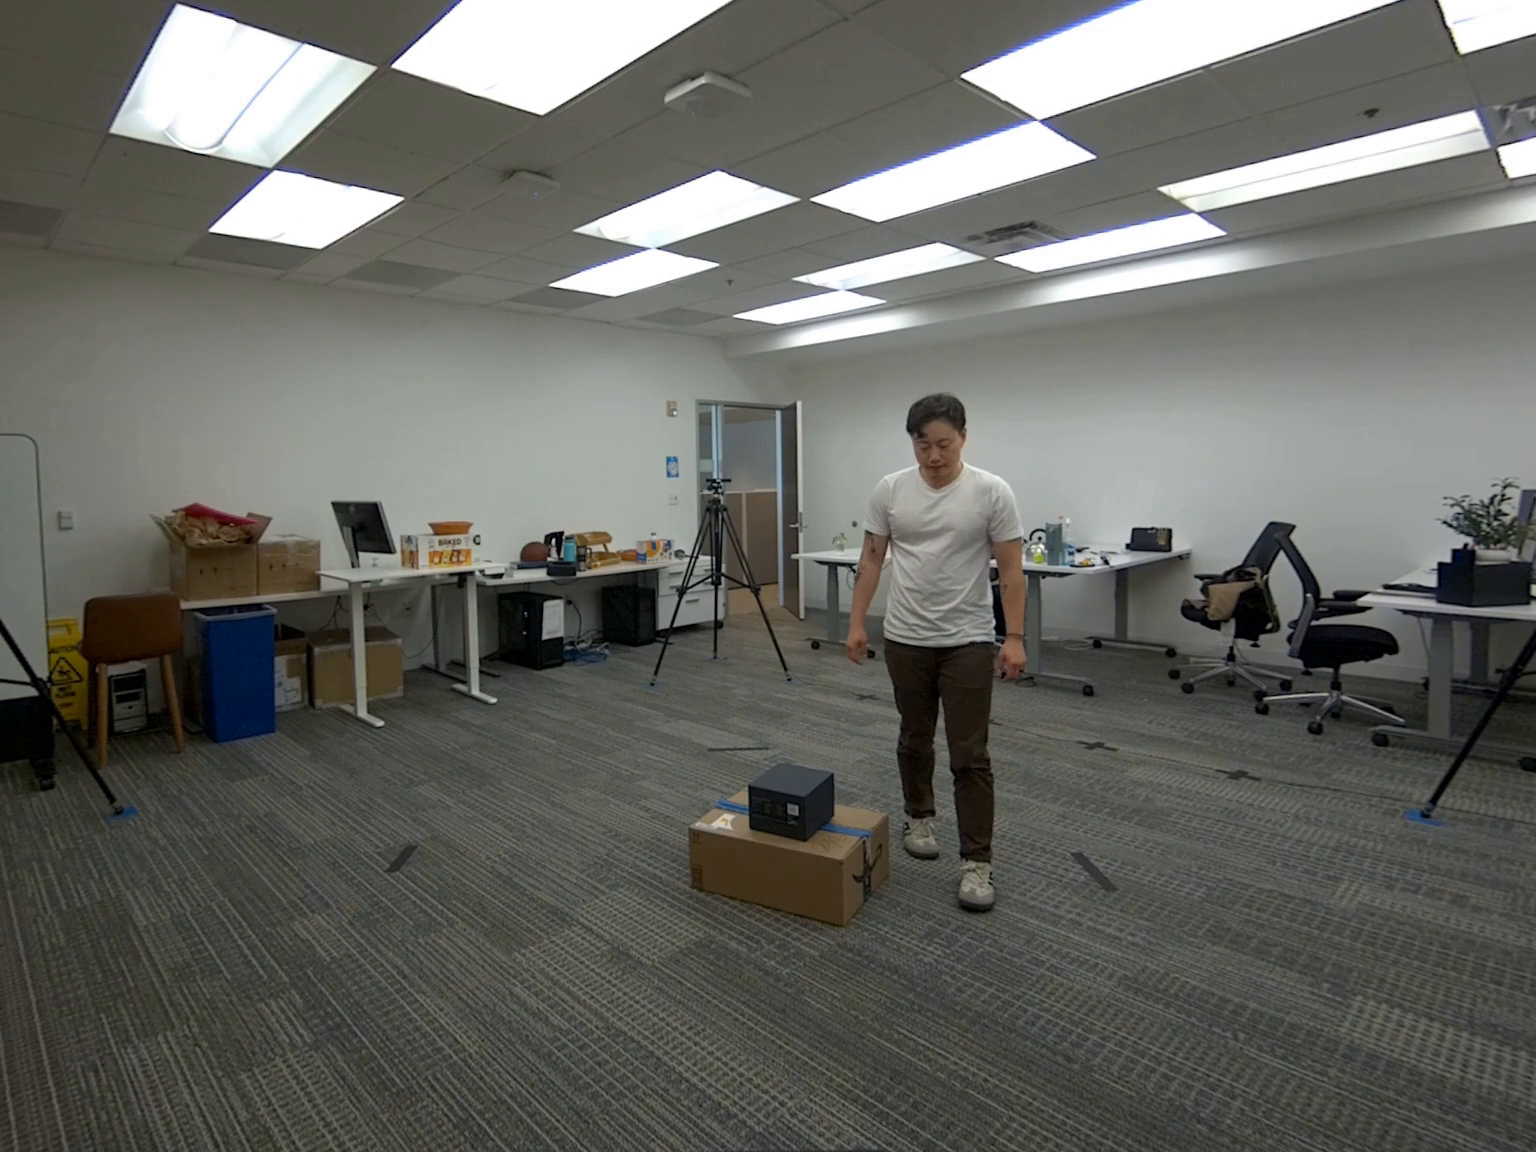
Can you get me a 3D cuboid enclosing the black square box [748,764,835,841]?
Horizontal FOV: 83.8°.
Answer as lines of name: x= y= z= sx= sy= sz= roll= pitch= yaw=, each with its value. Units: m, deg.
black square box: x=0.084 y=0.763 z=2.914 sx=0.223 sy=0.155 sz=0.223 roll=3 pitch=9 yaw=30
